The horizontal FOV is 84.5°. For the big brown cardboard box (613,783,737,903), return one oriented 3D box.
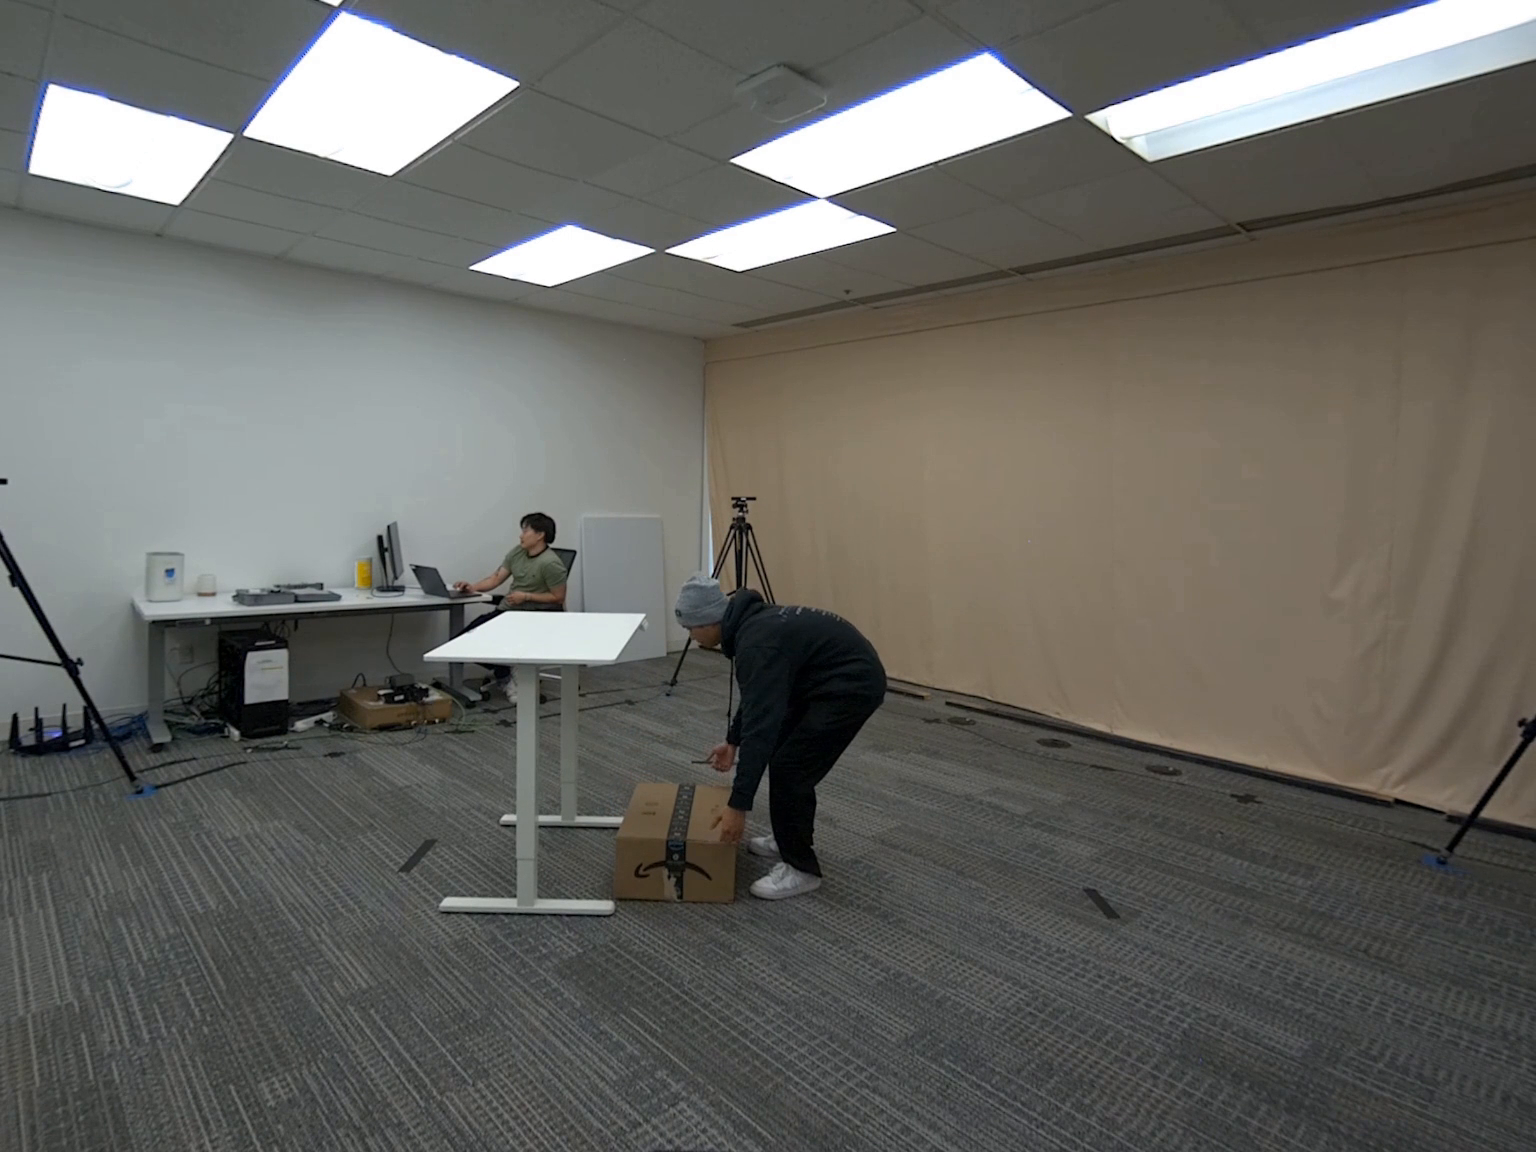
[{"bbox_3d":[-0.330,0.984,3.167,0.418,0.232,0.590,2,4,0],"label":"big brown cardboard box"}]
